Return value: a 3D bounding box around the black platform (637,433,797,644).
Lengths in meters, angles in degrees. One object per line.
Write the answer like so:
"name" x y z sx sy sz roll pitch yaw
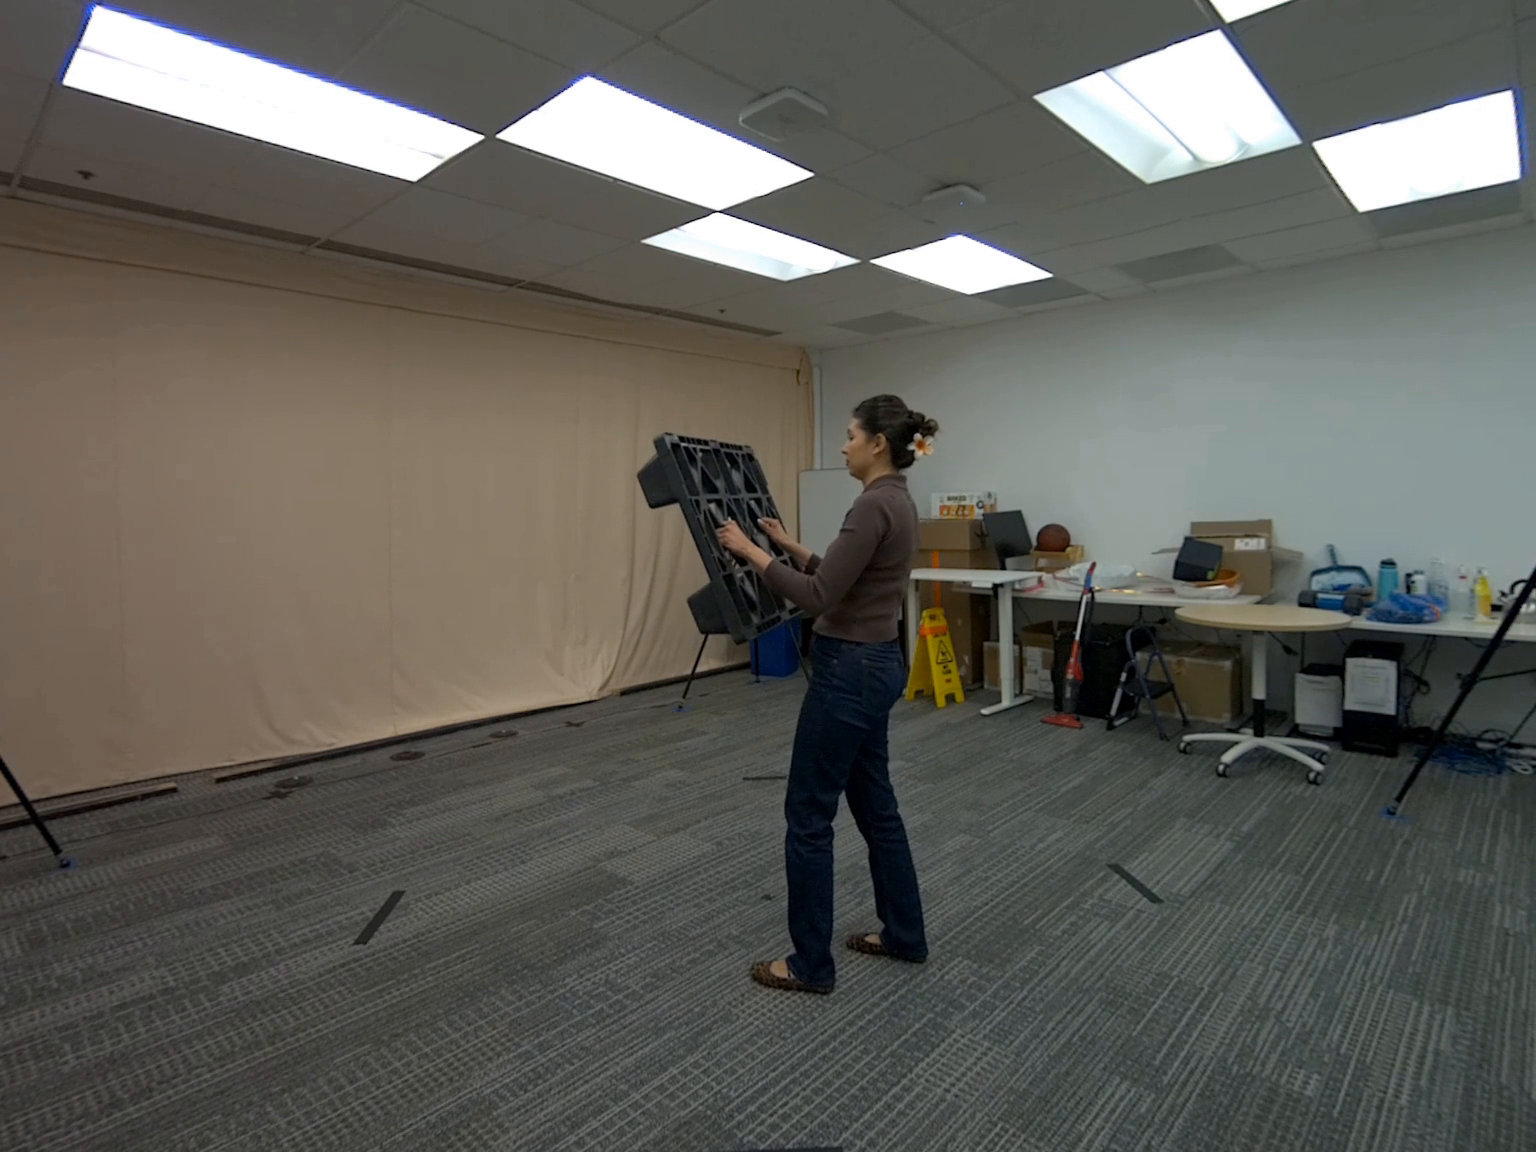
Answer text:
"black platform" -0.108 -0.124 2.597 0.145 0.607 0.792 -24 -3 18
